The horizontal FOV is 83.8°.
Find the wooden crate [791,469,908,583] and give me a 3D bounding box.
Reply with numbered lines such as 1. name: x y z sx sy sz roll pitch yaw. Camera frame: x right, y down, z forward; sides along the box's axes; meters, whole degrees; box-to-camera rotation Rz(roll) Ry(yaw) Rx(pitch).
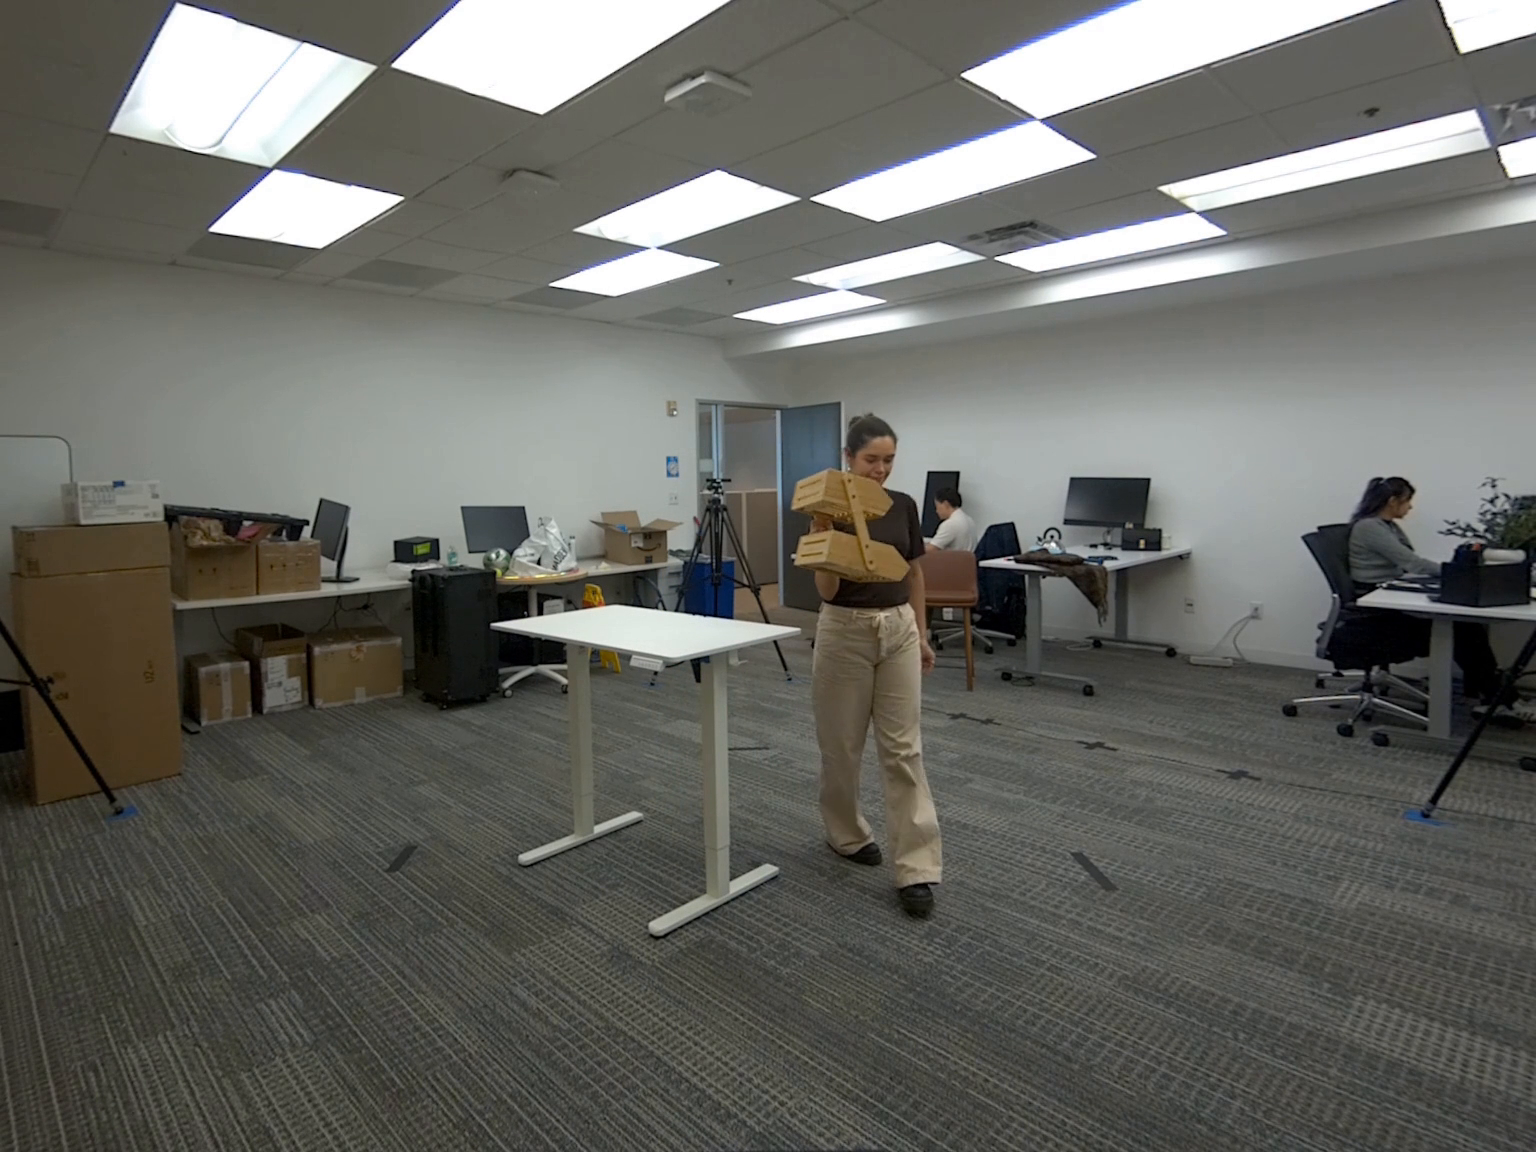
1. wooden crate: 0.254 -0.151 2.571 0.297 0.274 0.328 14 -6 -14
